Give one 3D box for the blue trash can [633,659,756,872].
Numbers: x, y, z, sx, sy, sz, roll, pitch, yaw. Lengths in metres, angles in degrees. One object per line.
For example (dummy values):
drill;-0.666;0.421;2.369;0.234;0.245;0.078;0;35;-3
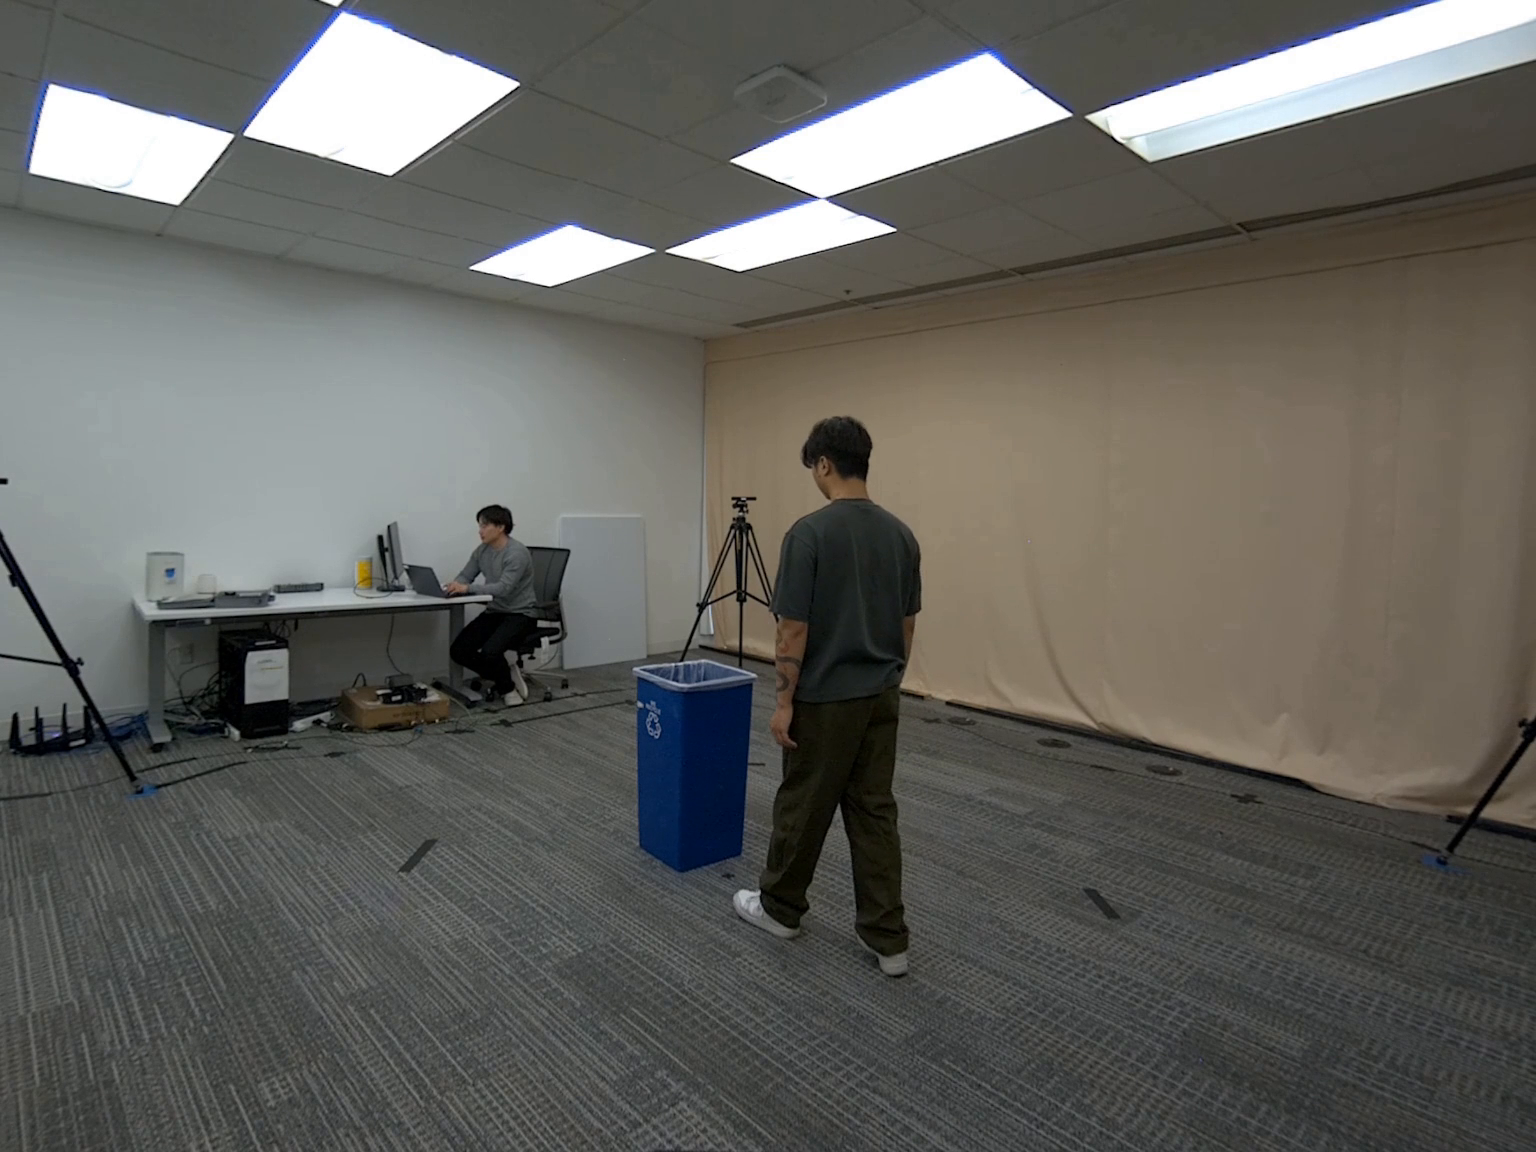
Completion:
blue trash can;-0.308;0.730;3.298;0.365;0.712;0.388;-1;4;-40
